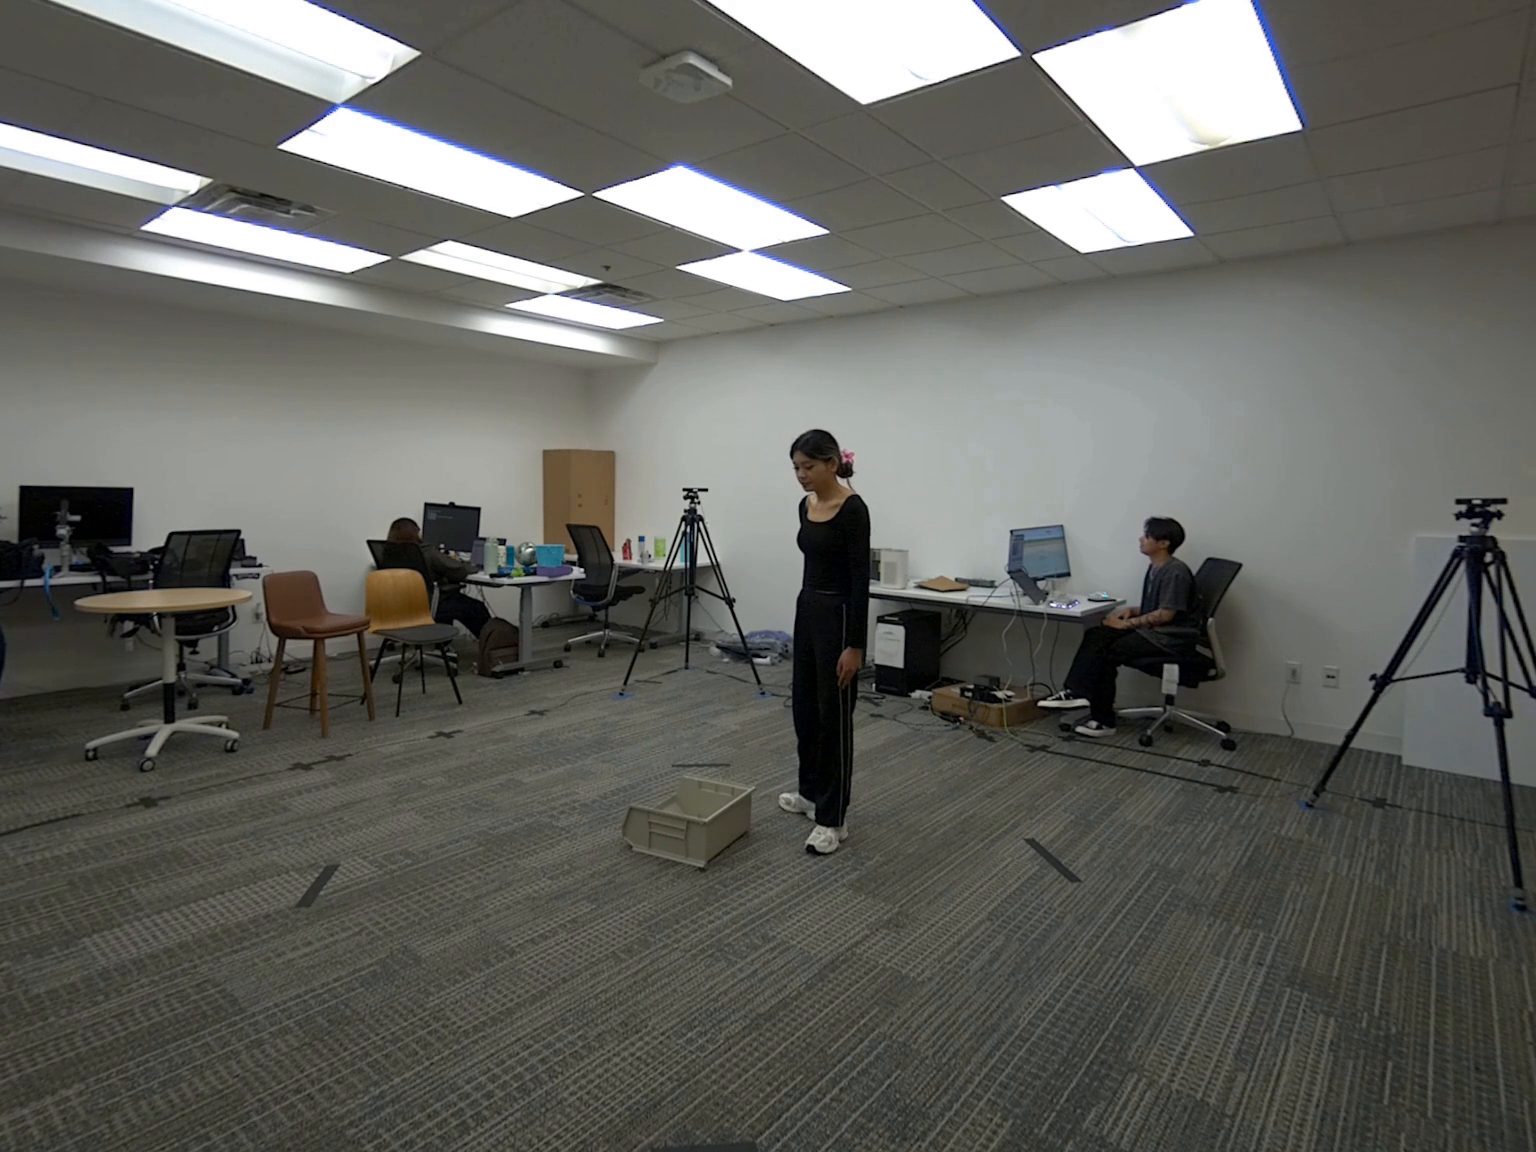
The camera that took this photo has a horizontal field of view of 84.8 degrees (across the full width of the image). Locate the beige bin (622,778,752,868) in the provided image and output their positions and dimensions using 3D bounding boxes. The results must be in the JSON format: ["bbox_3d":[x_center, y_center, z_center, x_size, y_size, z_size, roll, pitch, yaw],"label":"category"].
[{"bbox_3d":[-0.318,0.953,3.376,0.388,0.188,0.412,5,6,26],"label":"beige bin"}]
